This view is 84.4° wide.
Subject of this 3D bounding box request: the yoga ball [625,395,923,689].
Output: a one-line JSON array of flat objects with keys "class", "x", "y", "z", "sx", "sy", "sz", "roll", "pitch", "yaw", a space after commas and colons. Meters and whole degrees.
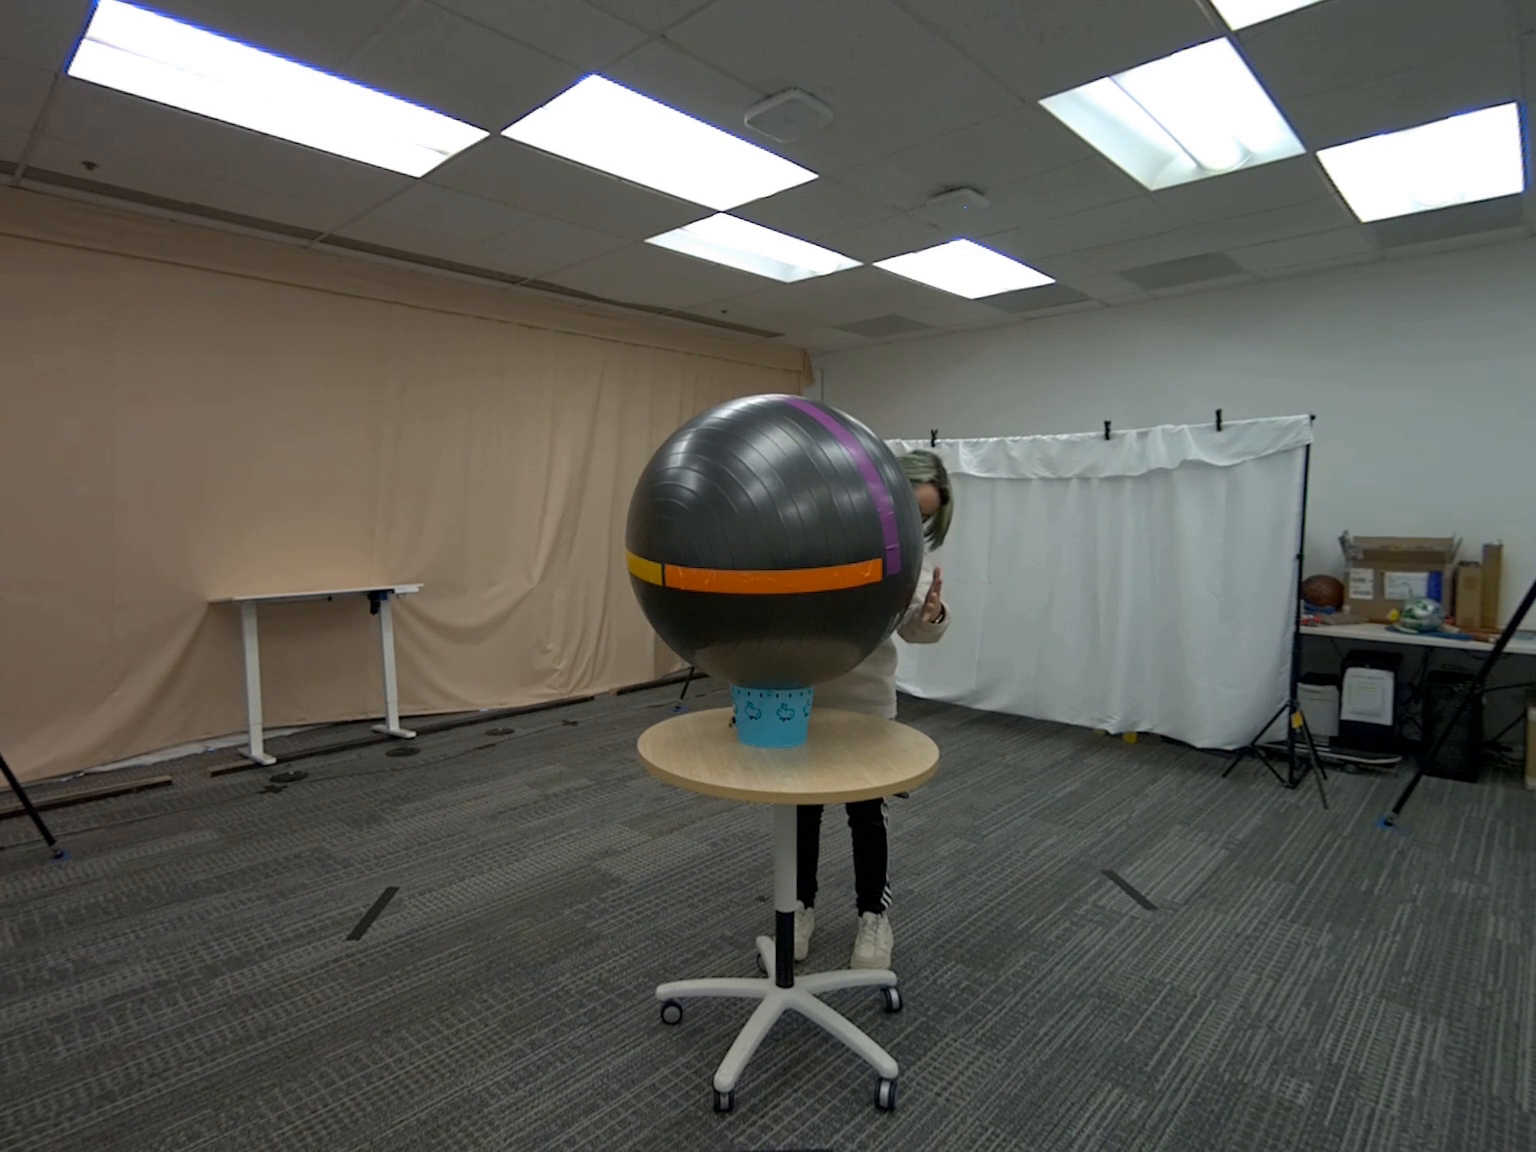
[{"class": "yoga ball", "x": 0.013, "y": -0.083, "z": 2.170, "sx": 0.757, "sy": 0.756, "sz": 0.760, "roll": 0, "pitch": 4, "yaw": -2}]
